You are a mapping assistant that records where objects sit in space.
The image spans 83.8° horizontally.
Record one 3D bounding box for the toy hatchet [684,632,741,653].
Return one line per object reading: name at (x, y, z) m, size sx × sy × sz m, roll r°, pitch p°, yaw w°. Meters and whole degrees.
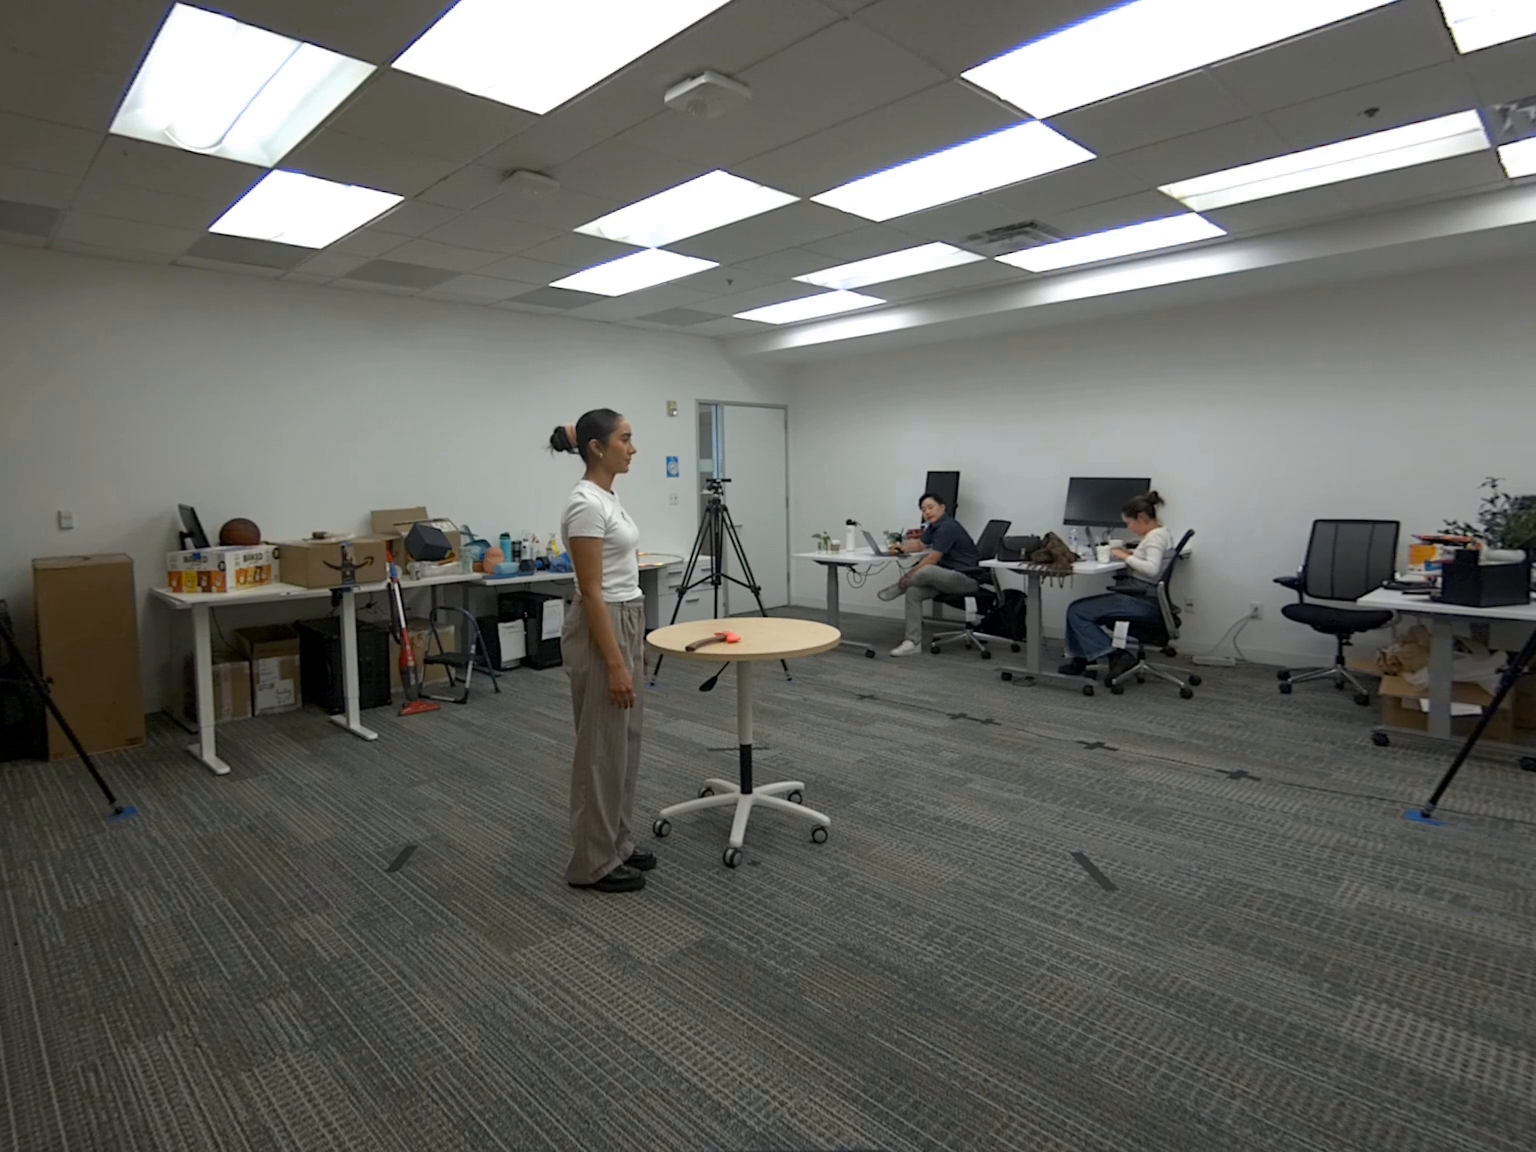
toy hatchet at (-0.199, 0.247, 3.166) m, size 0.134 × 0.029 × 0.266 m, roll 6°, pitch 11°, yaw 22°
